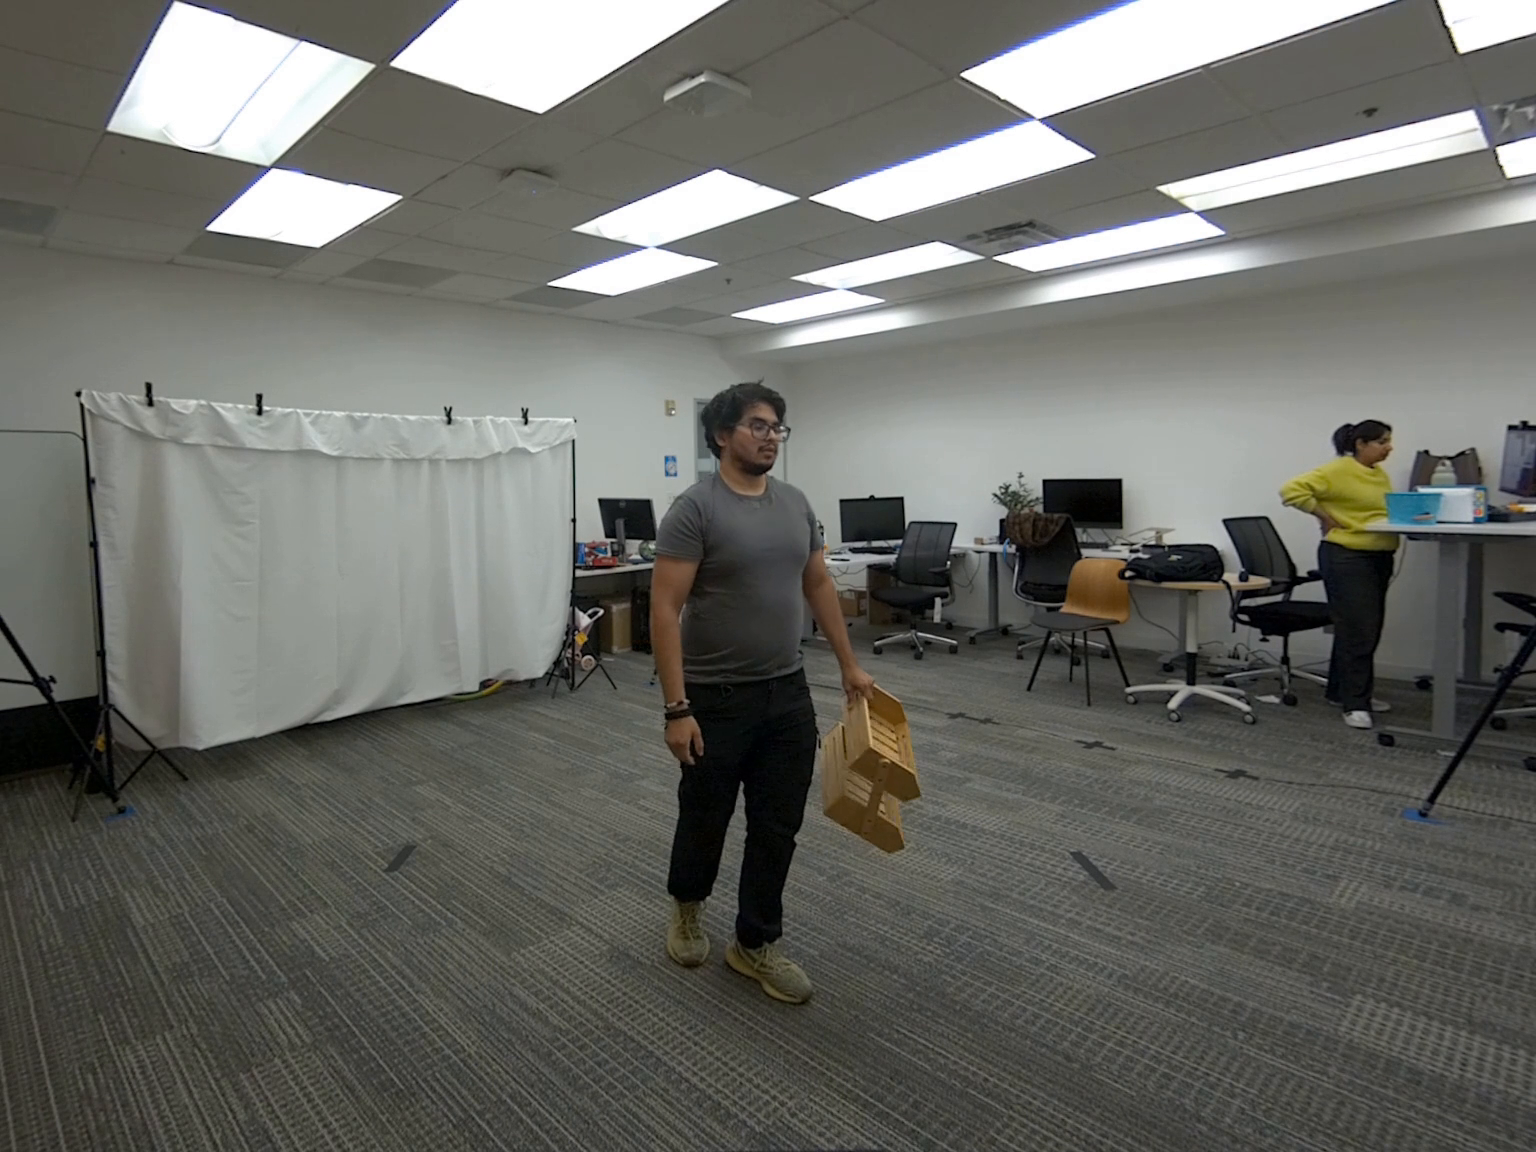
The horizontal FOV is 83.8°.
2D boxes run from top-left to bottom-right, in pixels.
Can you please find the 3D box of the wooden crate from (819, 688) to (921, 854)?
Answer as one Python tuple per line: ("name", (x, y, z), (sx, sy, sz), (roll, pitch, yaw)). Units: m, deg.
("wooden crate", (0.312, 0.524, 2.398), (0.297, 0.272, 0.331), (33, 24, -15))
